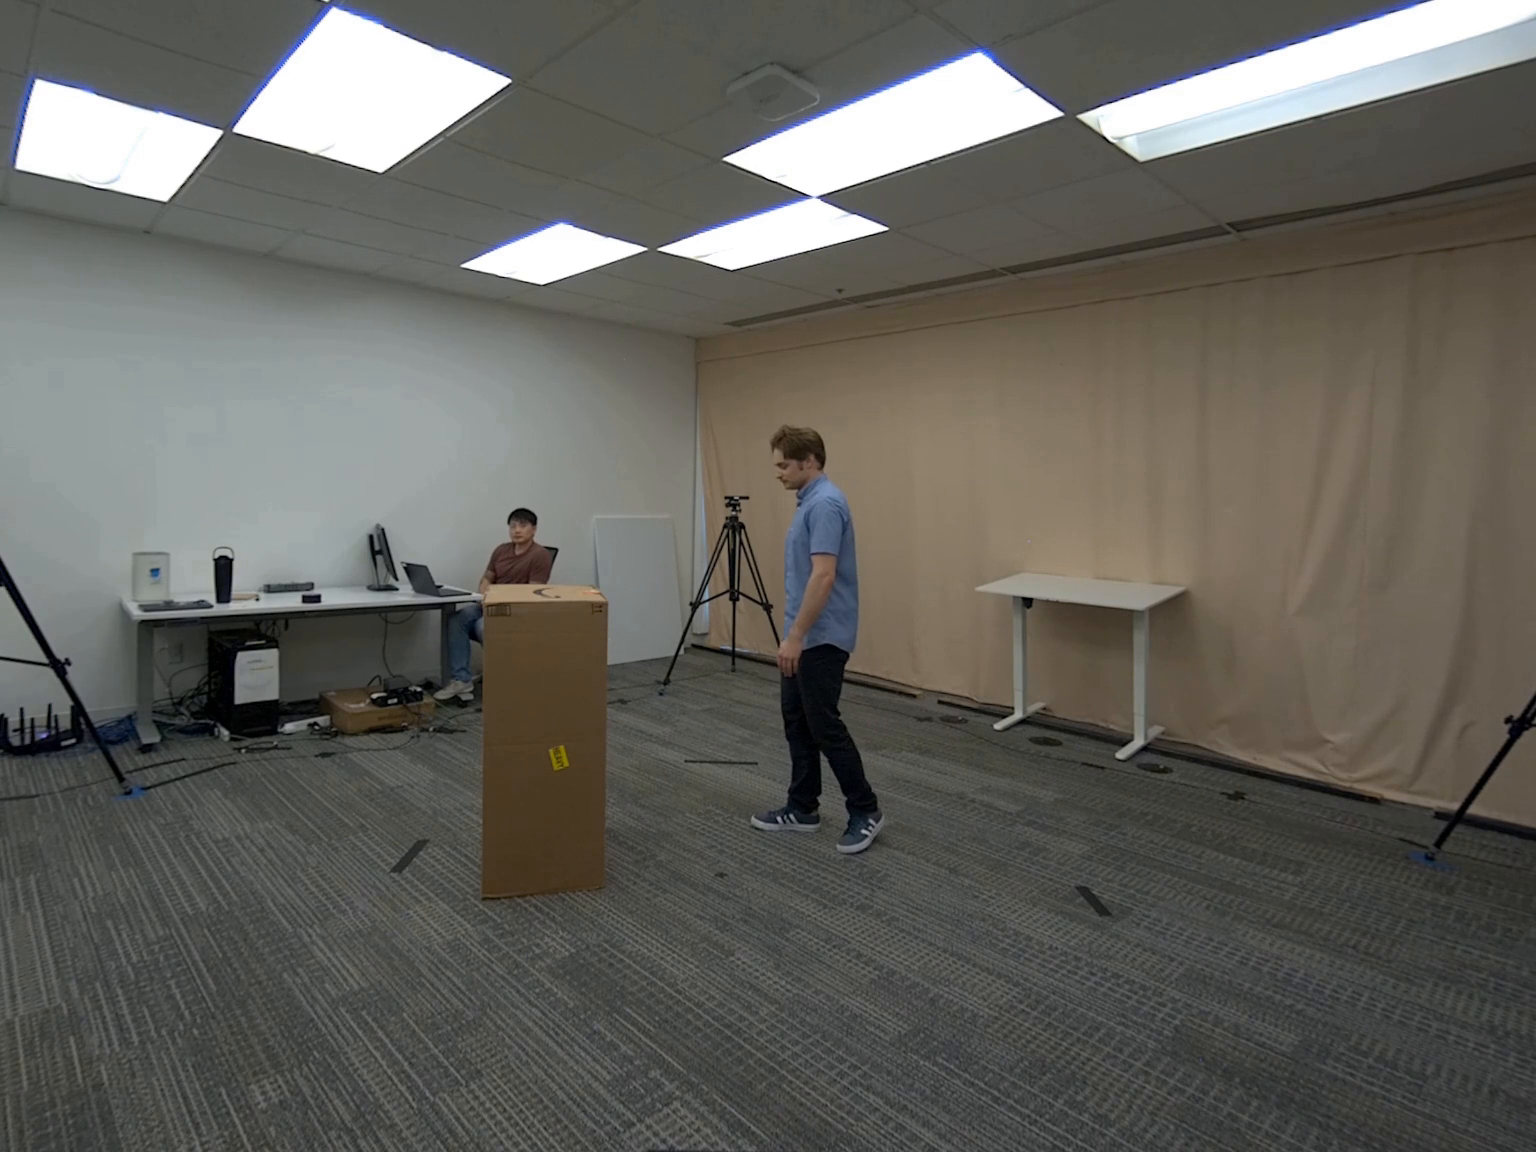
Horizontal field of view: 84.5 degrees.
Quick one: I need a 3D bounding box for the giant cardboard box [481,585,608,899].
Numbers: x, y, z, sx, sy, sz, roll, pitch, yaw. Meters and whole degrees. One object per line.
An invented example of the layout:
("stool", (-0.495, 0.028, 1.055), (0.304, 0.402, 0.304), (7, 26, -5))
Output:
("giant cardboard box", (-0.858, 0.577, 3.171), (0.441, 1.025, 0.593), (0, 3, -17))
